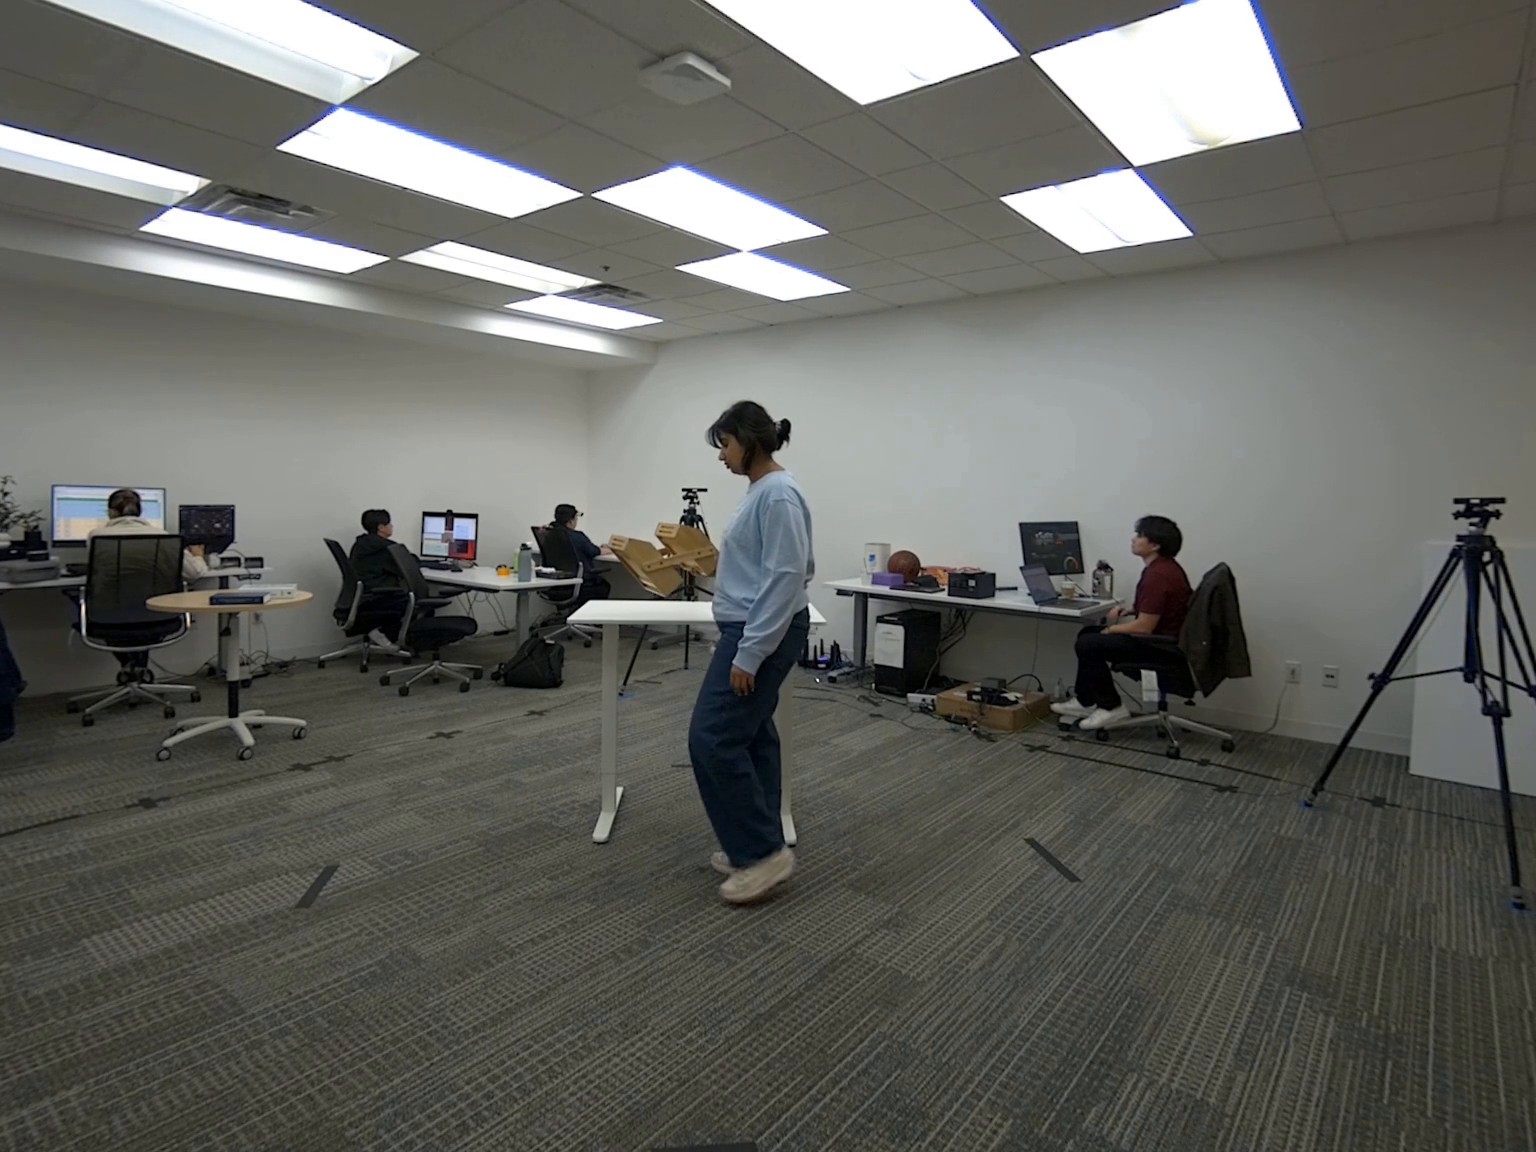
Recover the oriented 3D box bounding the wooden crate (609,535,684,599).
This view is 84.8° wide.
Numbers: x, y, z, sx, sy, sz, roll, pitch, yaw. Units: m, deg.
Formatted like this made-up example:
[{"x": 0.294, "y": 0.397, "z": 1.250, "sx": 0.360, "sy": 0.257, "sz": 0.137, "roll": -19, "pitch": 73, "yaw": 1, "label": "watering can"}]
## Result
[{"x": -0.398, "y": -0.102, "z": 3.208, "sx": 0.273, "sy": 0.296, "sz": 0.332, "roll": -43, "pitch": 17, "yaw": -13, "label": "wooden crate"}]
